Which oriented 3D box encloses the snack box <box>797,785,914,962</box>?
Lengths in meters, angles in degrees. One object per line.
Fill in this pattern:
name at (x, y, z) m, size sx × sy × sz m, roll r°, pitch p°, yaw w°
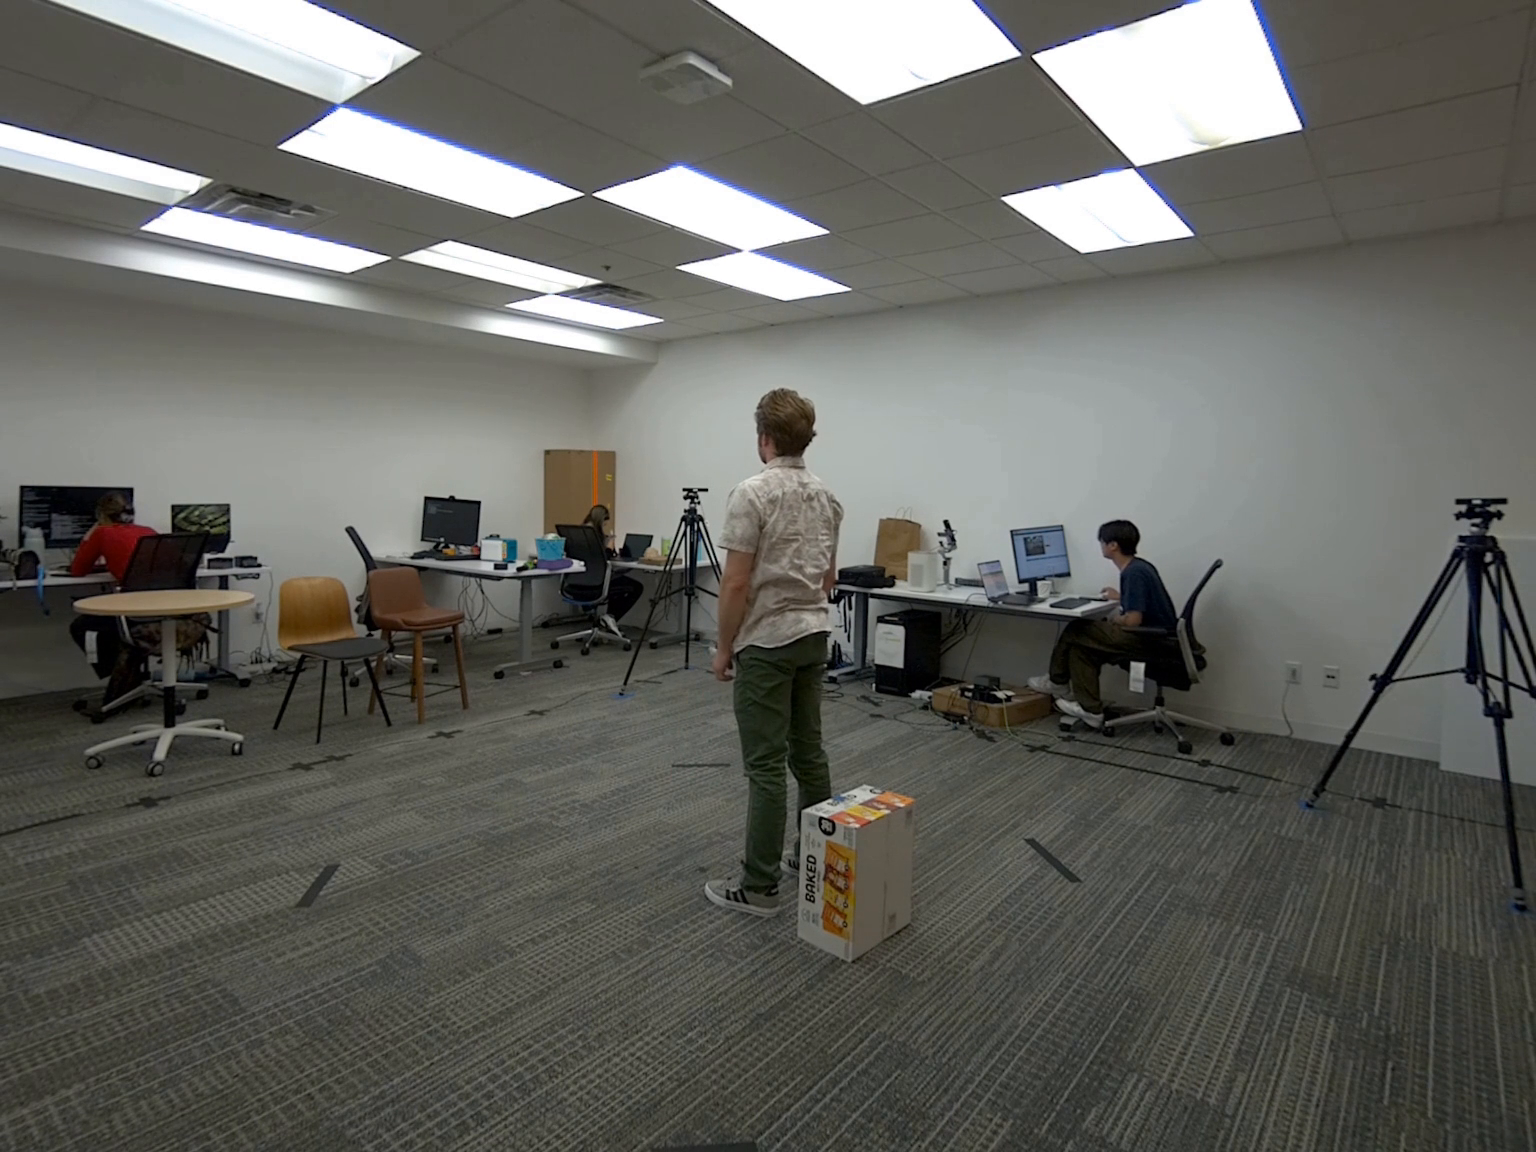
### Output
snack box at (0.280, 0.920, 2.686) m, size 0.212 × 0.404 × 0.330 m, roll 3°, pitch 4°, yaw 42°
